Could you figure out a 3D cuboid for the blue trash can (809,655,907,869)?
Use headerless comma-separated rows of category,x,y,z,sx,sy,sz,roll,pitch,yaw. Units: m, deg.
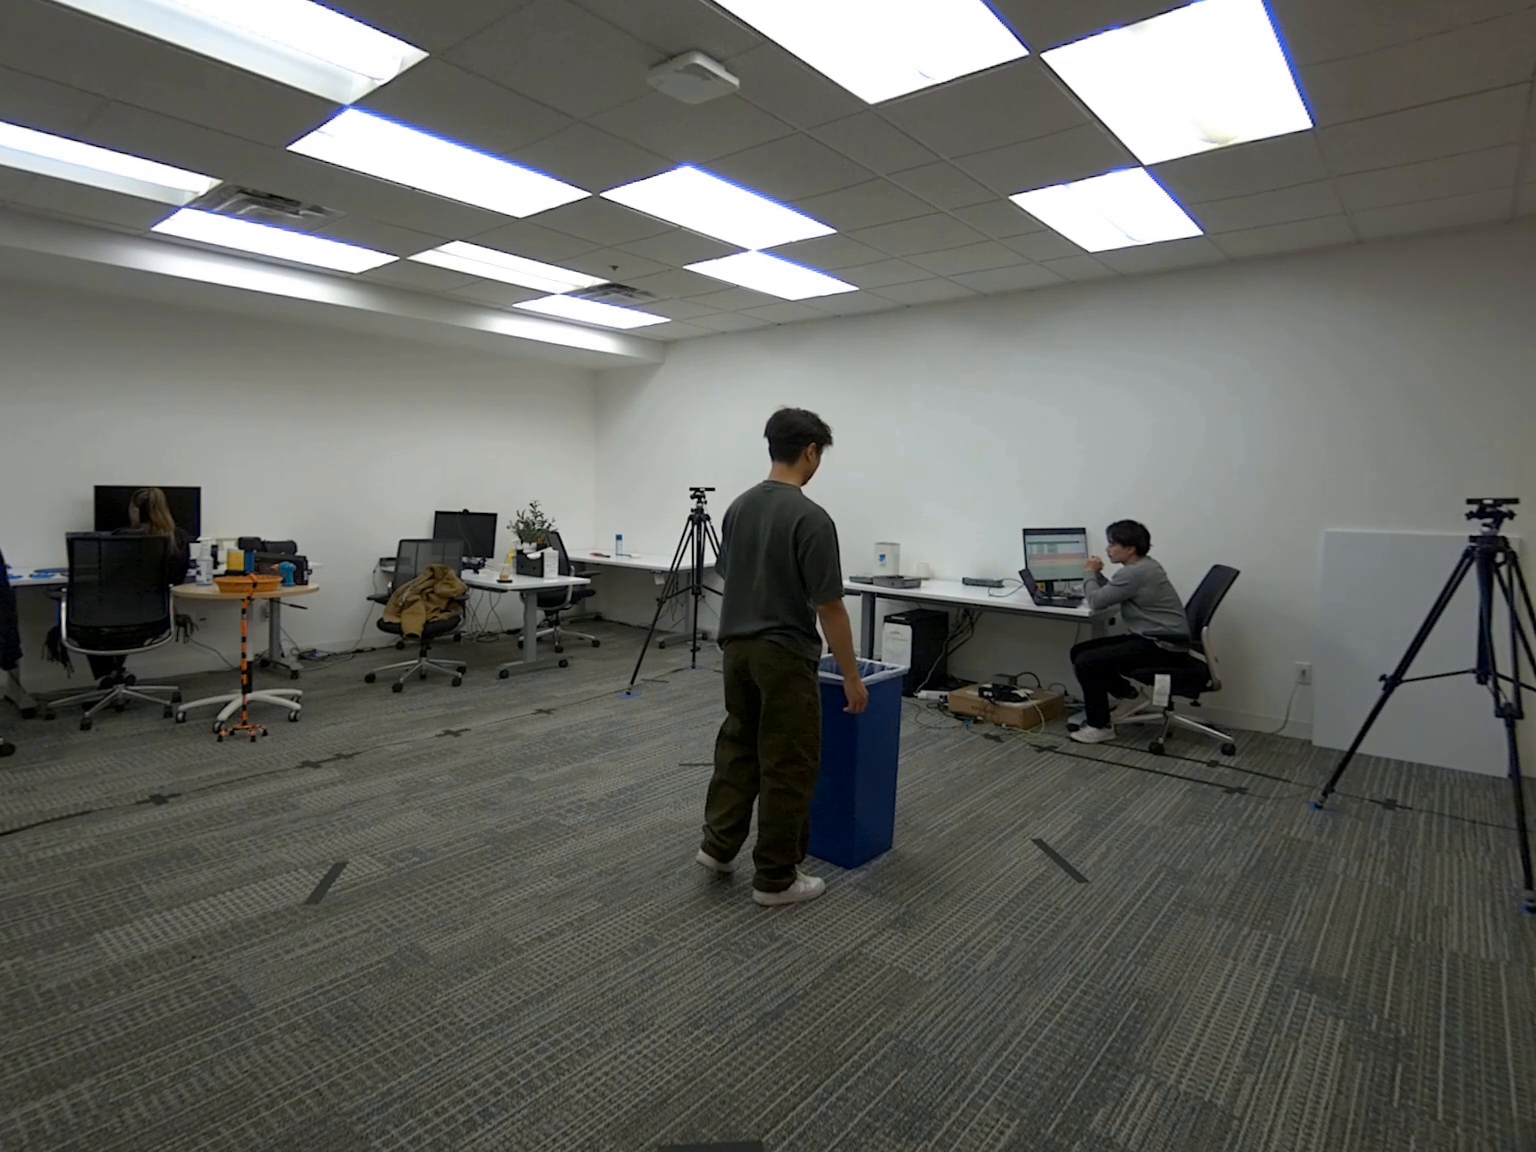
blue trash can,0.285,0.701,3.303,0.391,0.712,0.363,3,3,39
